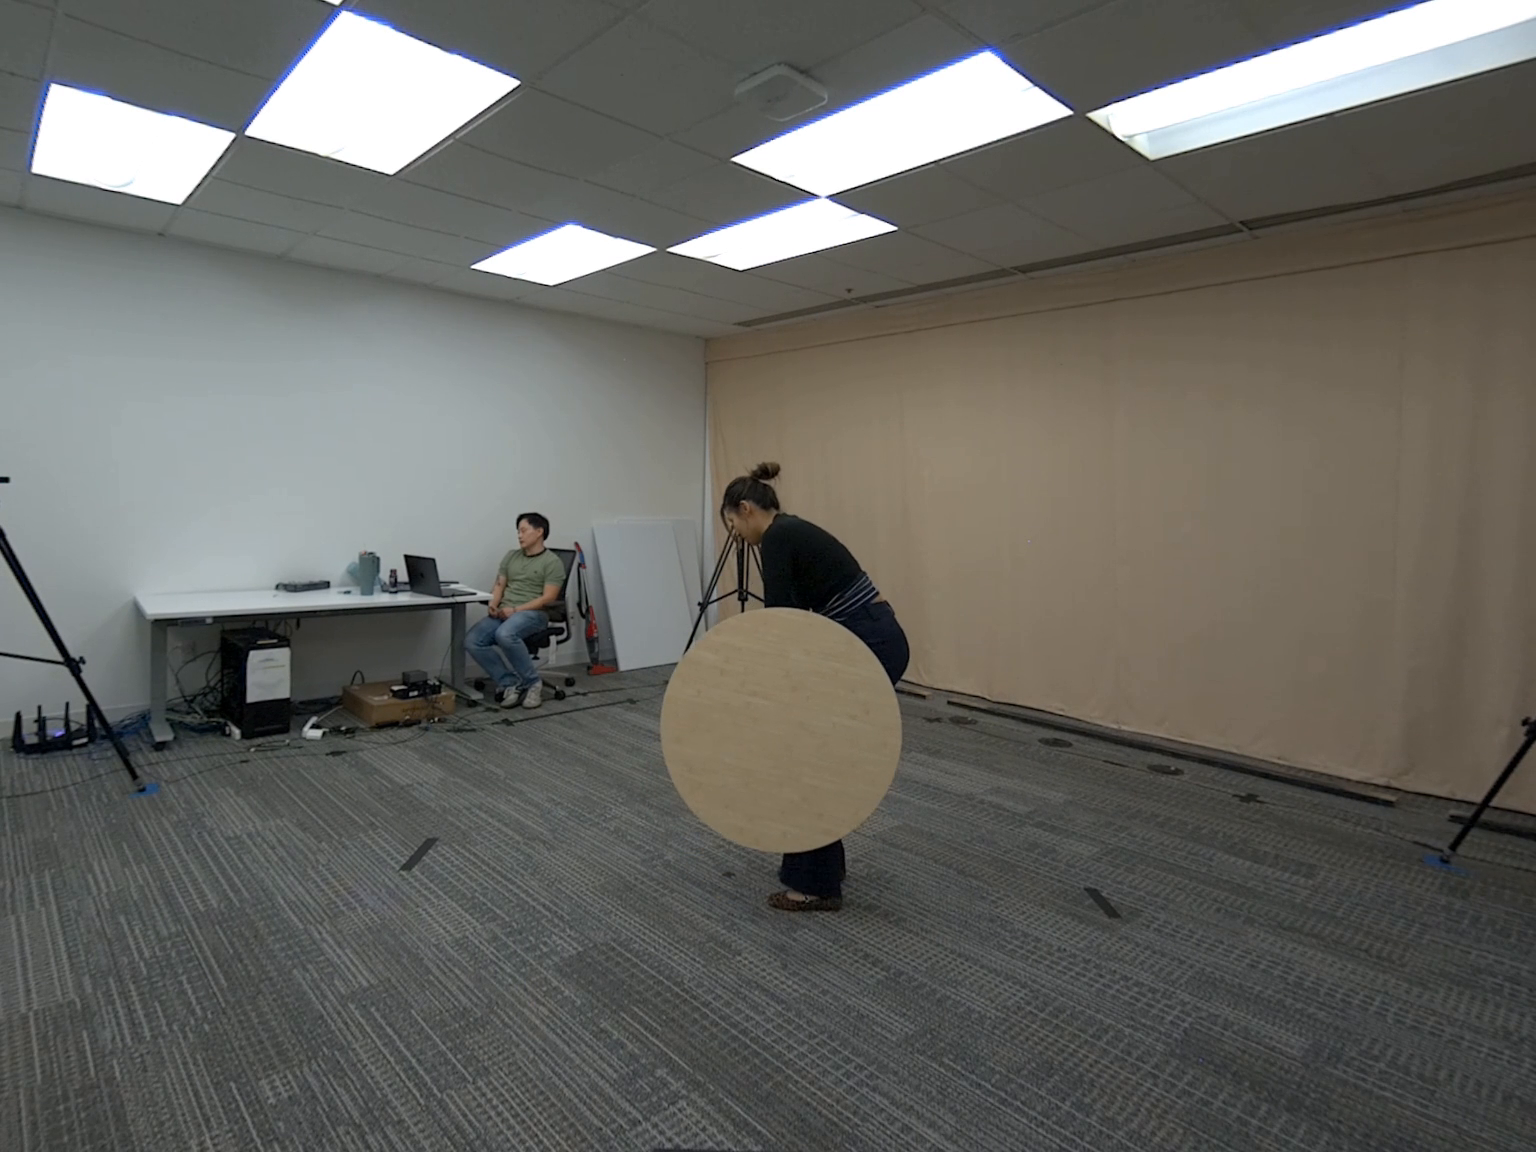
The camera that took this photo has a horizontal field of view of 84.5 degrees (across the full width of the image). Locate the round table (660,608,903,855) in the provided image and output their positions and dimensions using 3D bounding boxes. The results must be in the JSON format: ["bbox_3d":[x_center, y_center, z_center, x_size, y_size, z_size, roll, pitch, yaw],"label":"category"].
[{"bbox_3d":[0.059,0.505,3.054,0.768,0.766,0.788,2,-3,5],"label":"round table"}]
